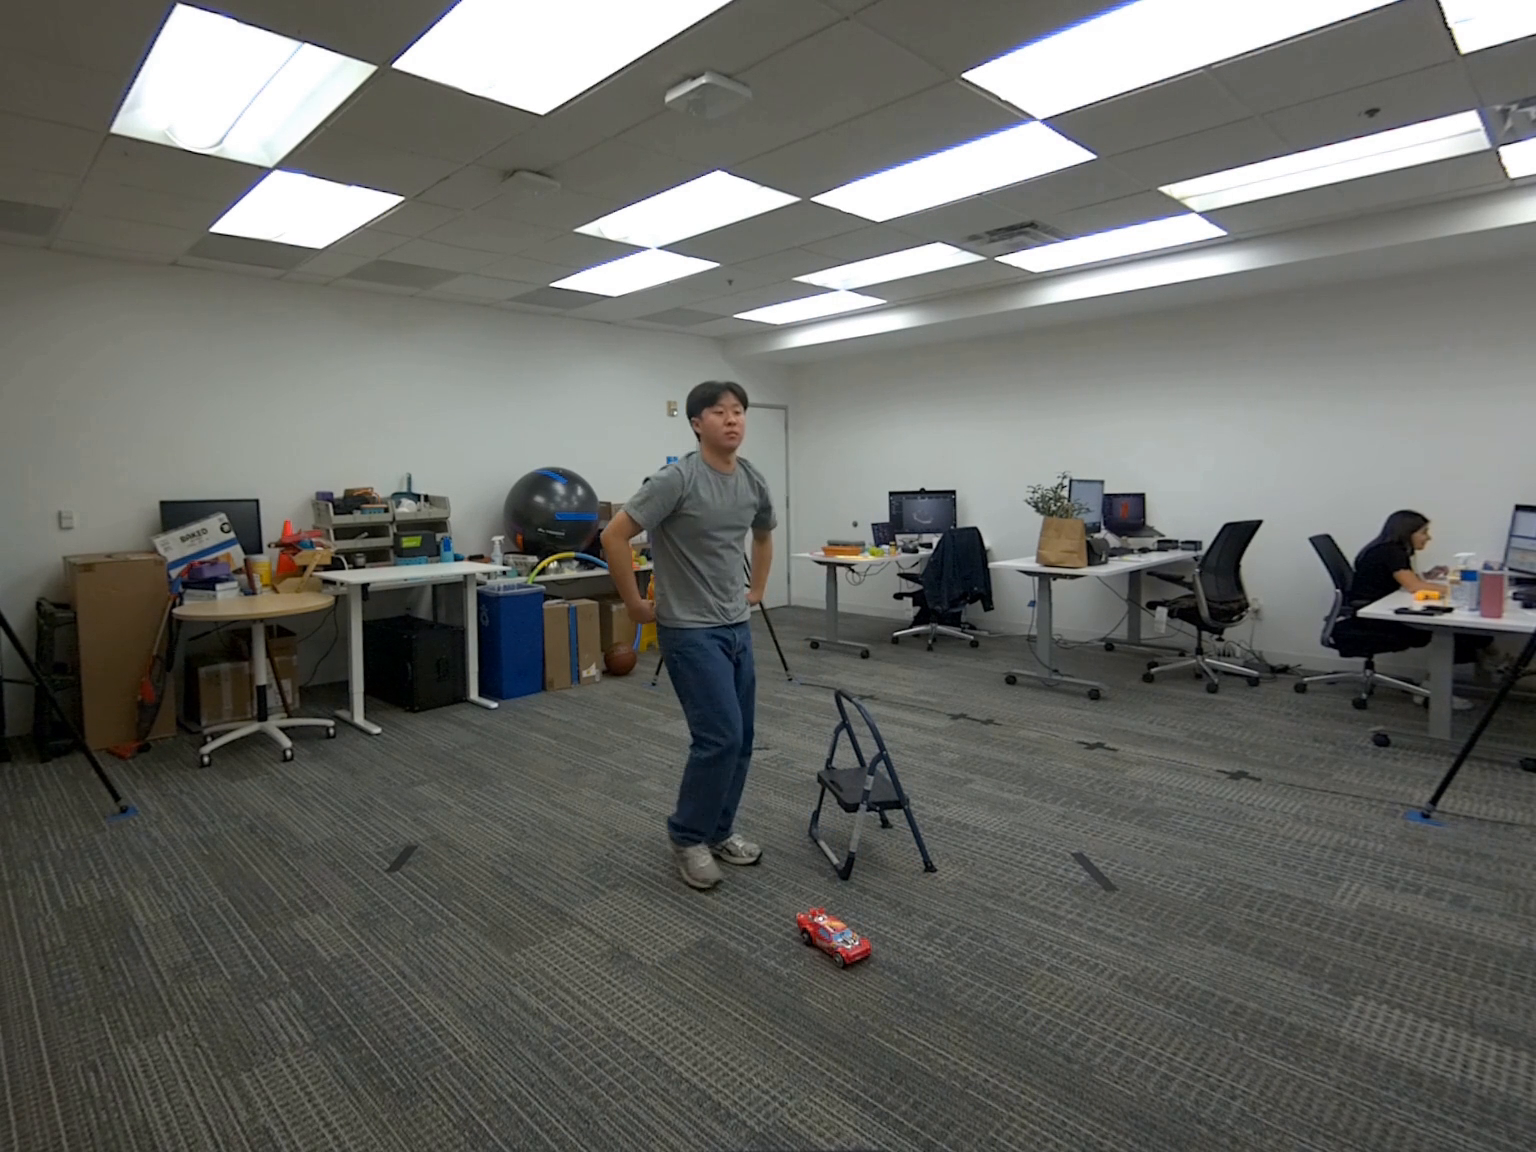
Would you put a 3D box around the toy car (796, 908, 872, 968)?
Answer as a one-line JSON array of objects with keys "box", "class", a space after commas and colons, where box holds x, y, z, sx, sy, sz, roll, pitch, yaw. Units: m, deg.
[{"box": [0.196, 1.075, 2.541, 0.127, 0.082, 0.264, -6, 19, -34], "class": "toy car"}]
